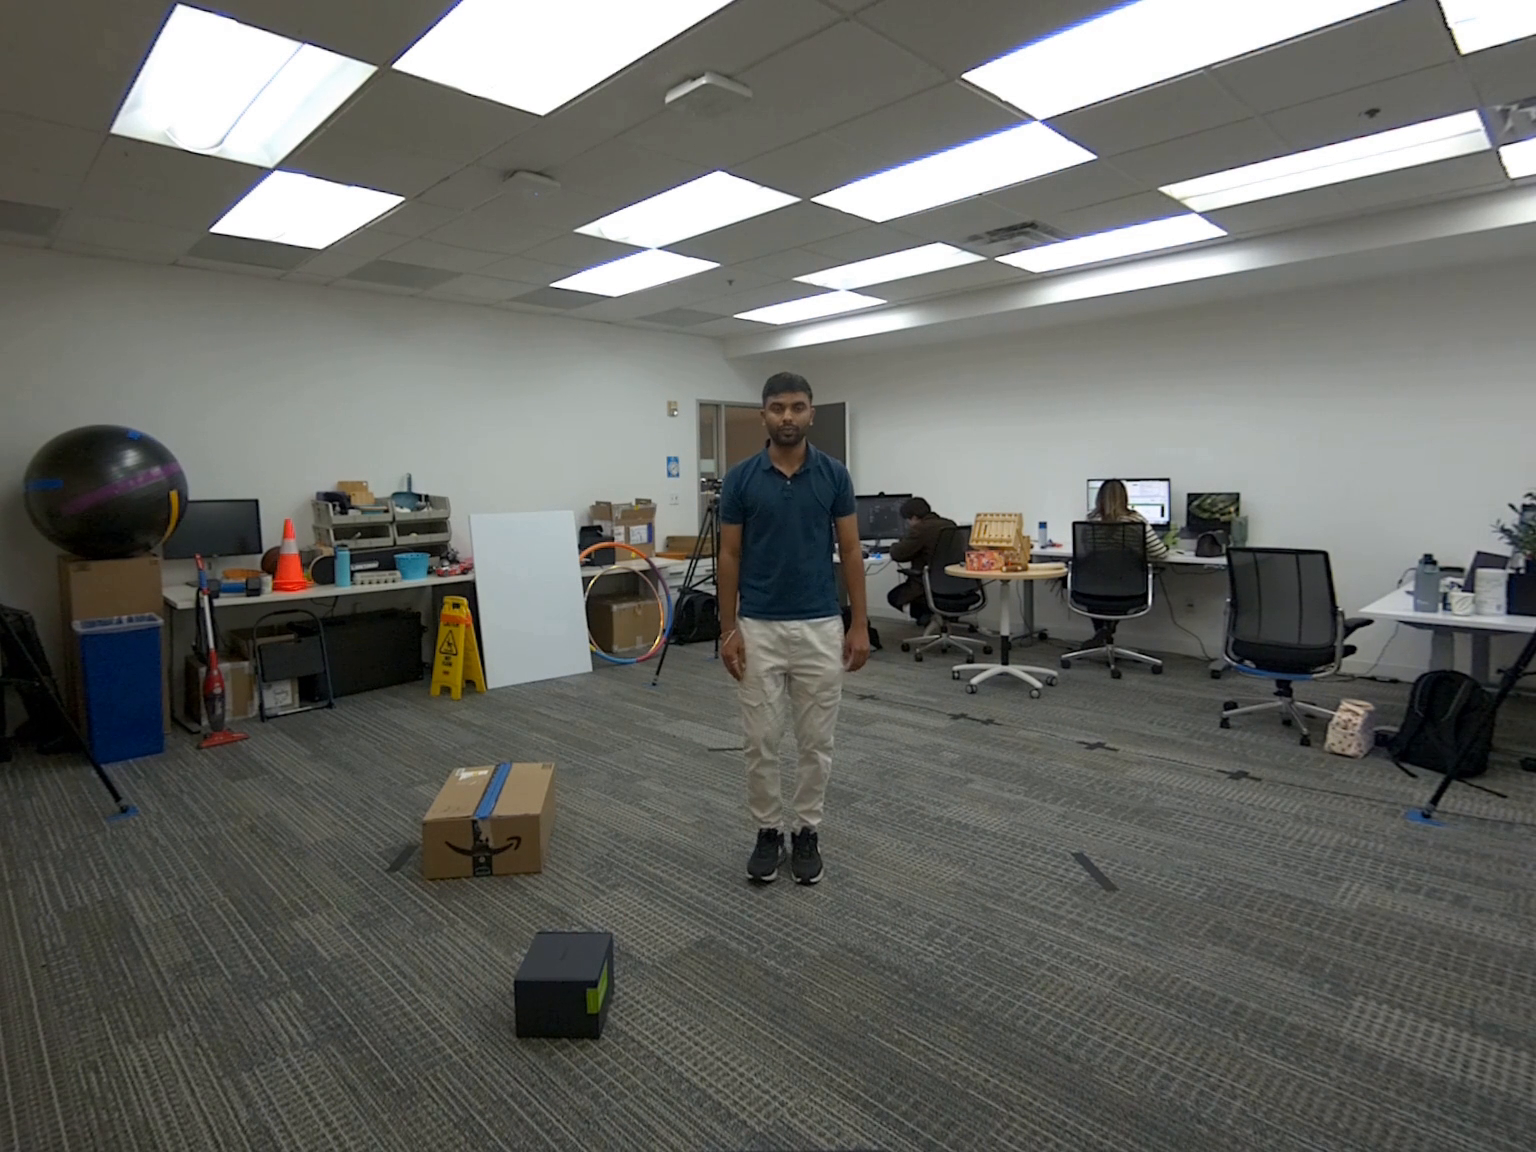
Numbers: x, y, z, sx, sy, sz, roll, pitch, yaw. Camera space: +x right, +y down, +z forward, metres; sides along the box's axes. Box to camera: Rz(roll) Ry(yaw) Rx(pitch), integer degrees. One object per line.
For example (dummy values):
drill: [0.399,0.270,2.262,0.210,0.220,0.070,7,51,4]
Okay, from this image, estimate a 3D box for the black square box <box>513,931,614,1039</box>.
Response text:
black square box: [-0.527,1.066,2.259,0.217,0.155,0.228,0,5,1]
